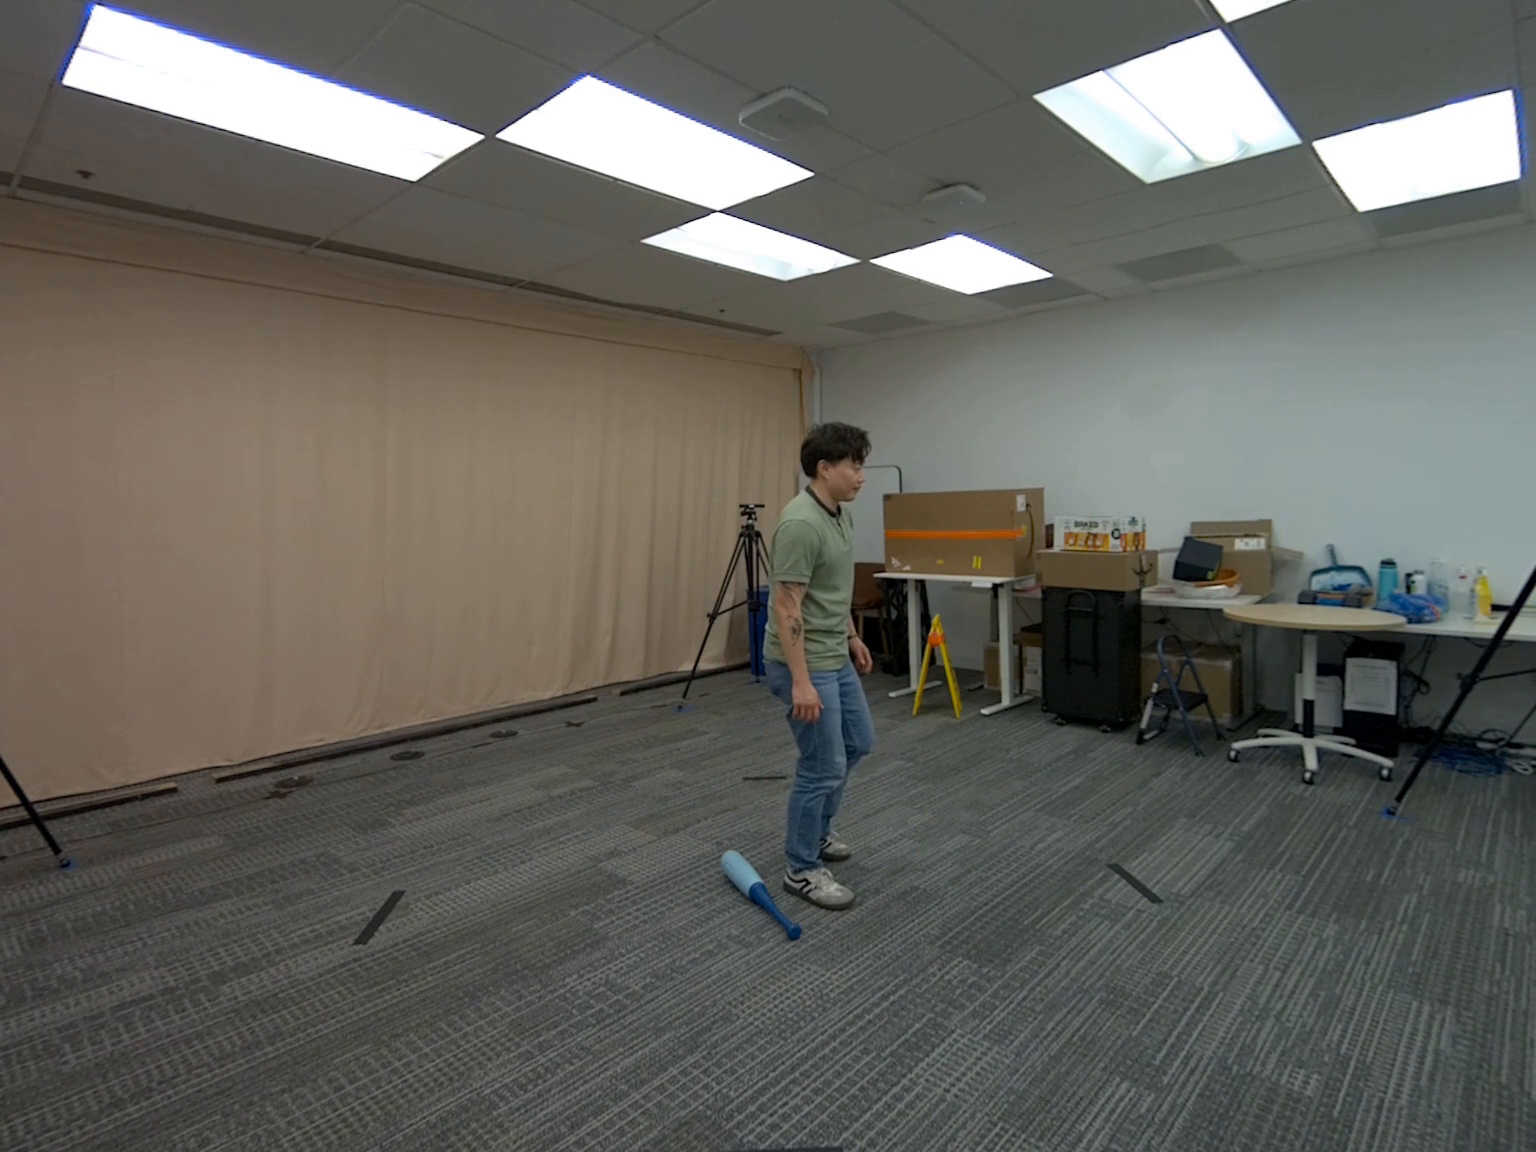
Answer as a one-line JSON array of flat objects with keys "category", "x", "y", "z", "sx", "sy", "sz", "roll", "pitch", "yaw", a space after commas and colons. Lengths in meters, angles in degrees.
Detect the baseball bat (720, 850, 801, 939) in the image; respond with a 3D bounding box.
[{"category": "baseball bat", "x": -0.017, "y": 1.104, "z": 2.934, "sx": 0.087, "sy": 0.088, "sz": 0.557, "roll": -2, "pitch": 10, "yaw": -21}]
